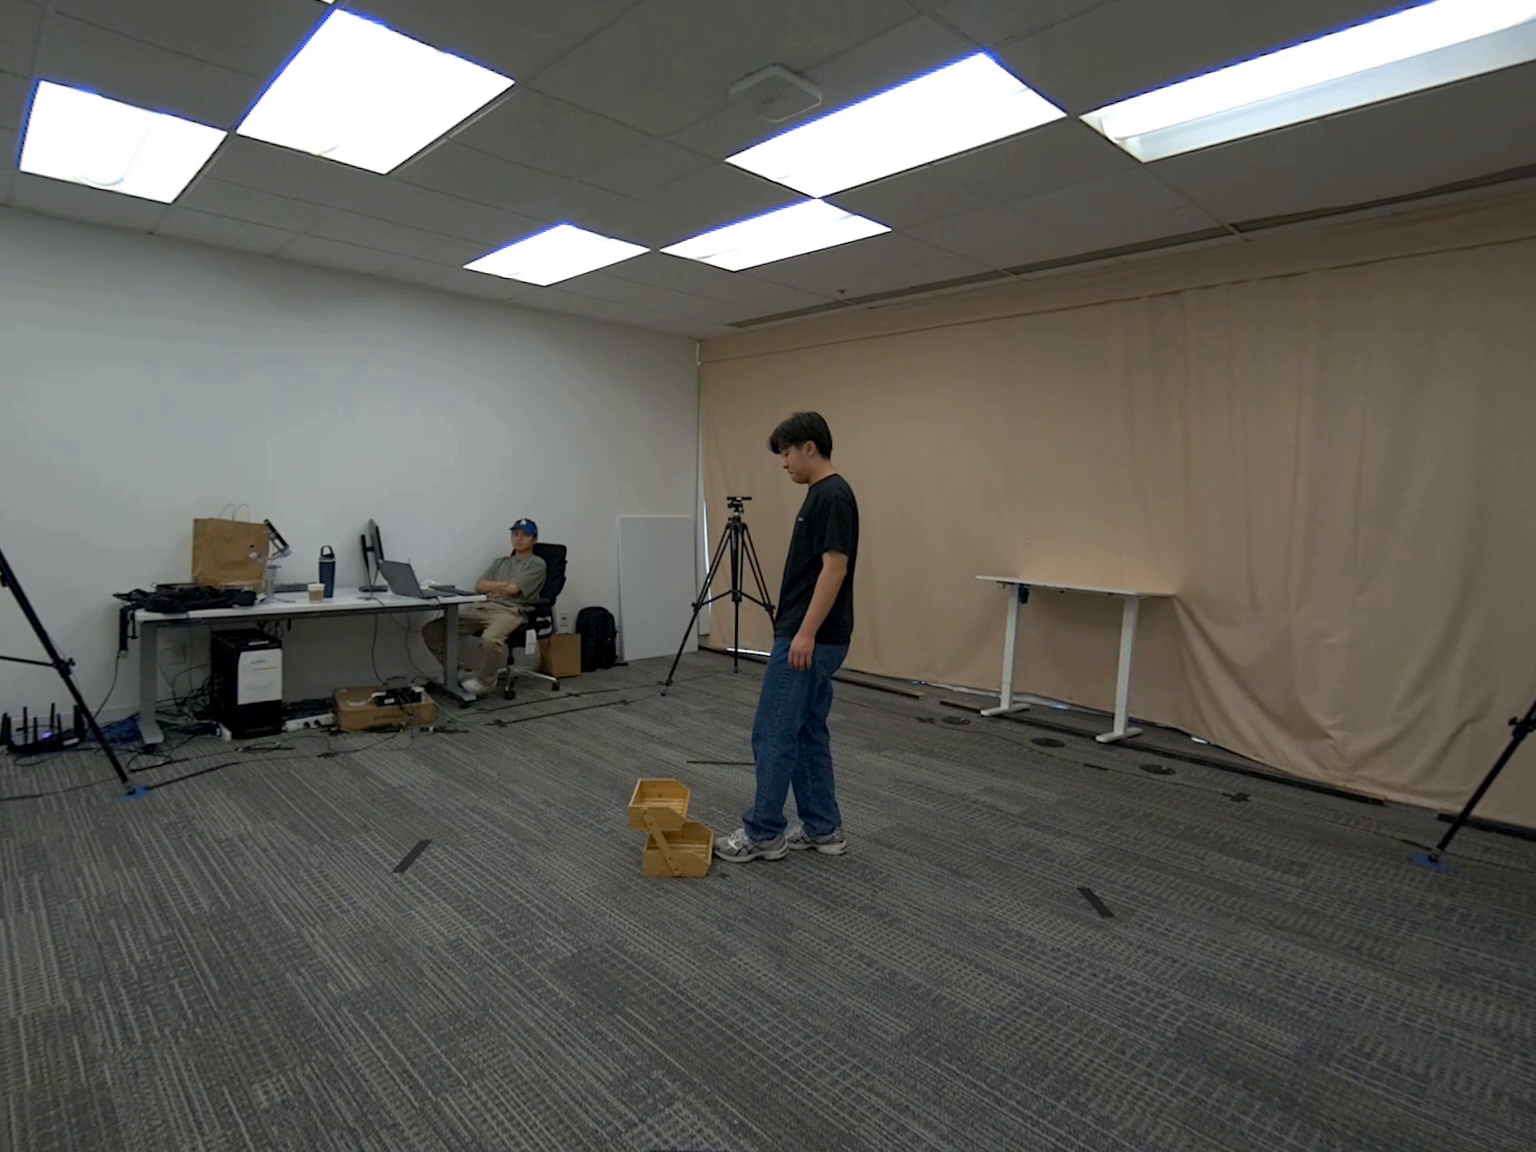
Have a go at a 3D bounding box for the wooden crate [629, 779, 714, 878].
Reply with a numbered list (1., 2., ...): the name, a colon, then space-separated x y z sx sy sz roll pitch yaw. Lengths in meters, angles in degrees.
1. wooden crate: -0.365 0.955 3.231 0.302 0.272 0.325 1 4 -1
